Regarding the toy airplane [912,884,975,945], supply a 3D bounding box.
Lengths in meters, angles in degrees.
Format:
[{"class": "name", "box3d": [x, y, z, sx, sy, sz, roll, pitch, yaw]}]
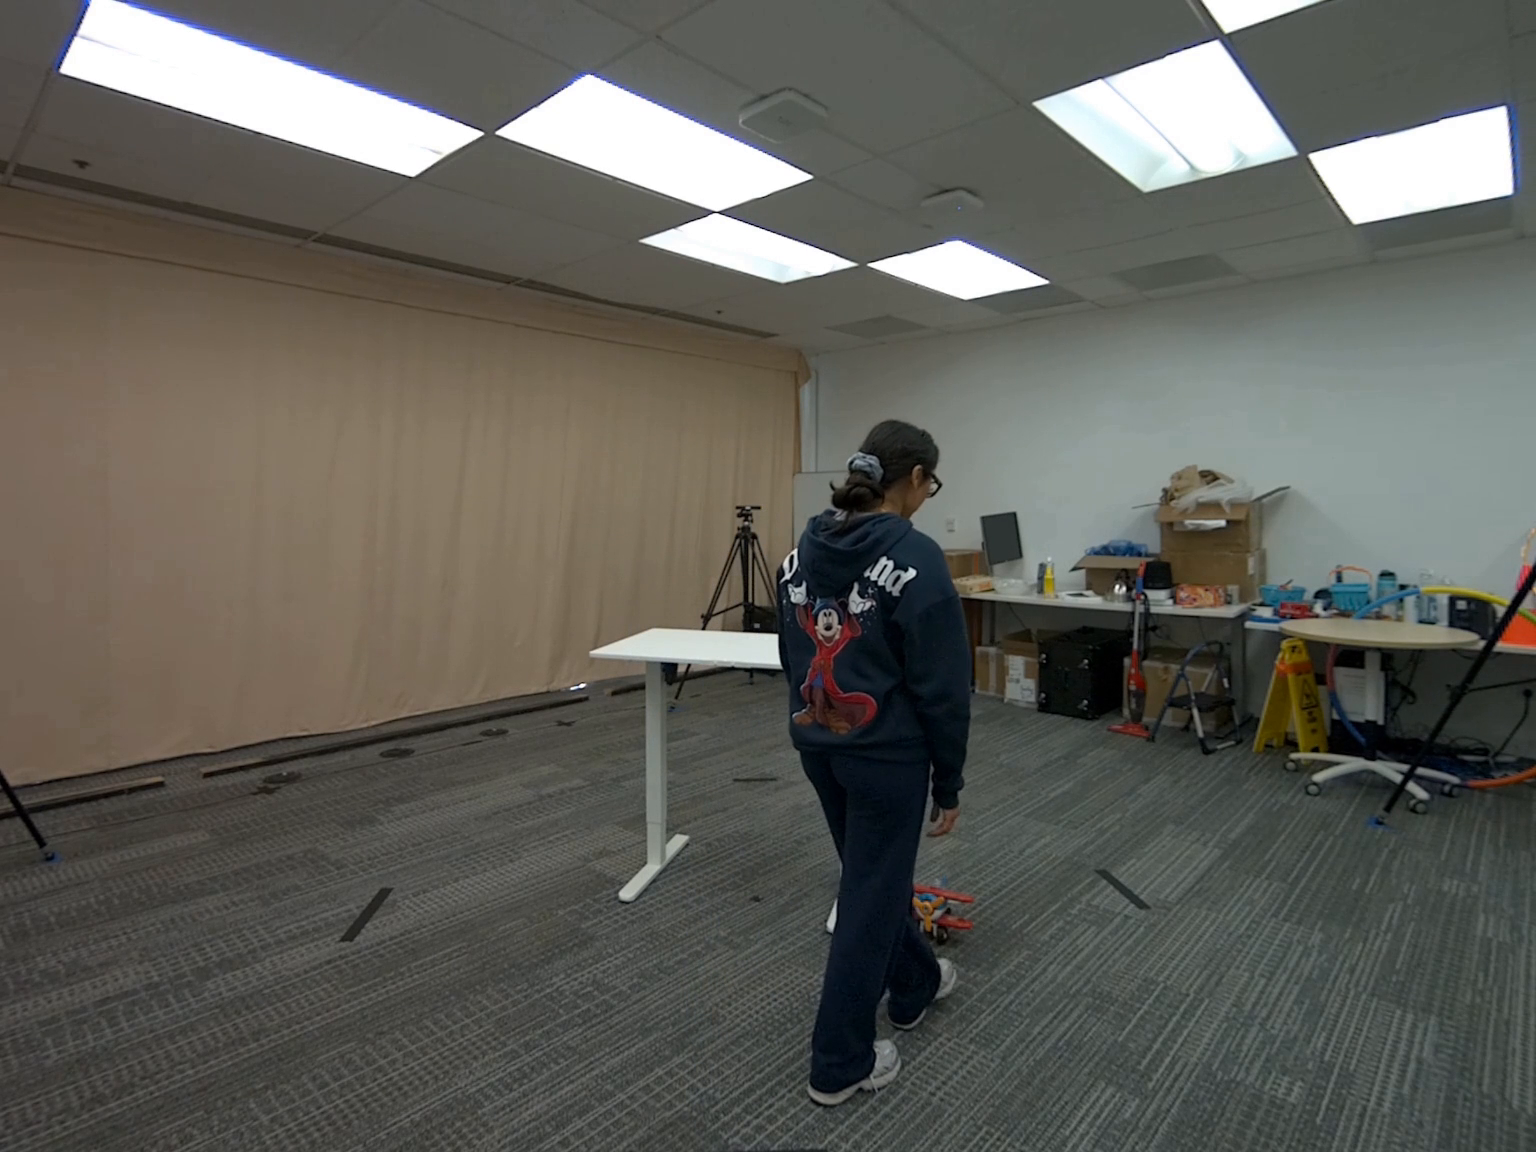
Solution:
[{"class": "toy airplane", "box3d": [0.557, 1.079, 2.769, 0.251, 0.156, 0.260, -1, 5, -1]}]
